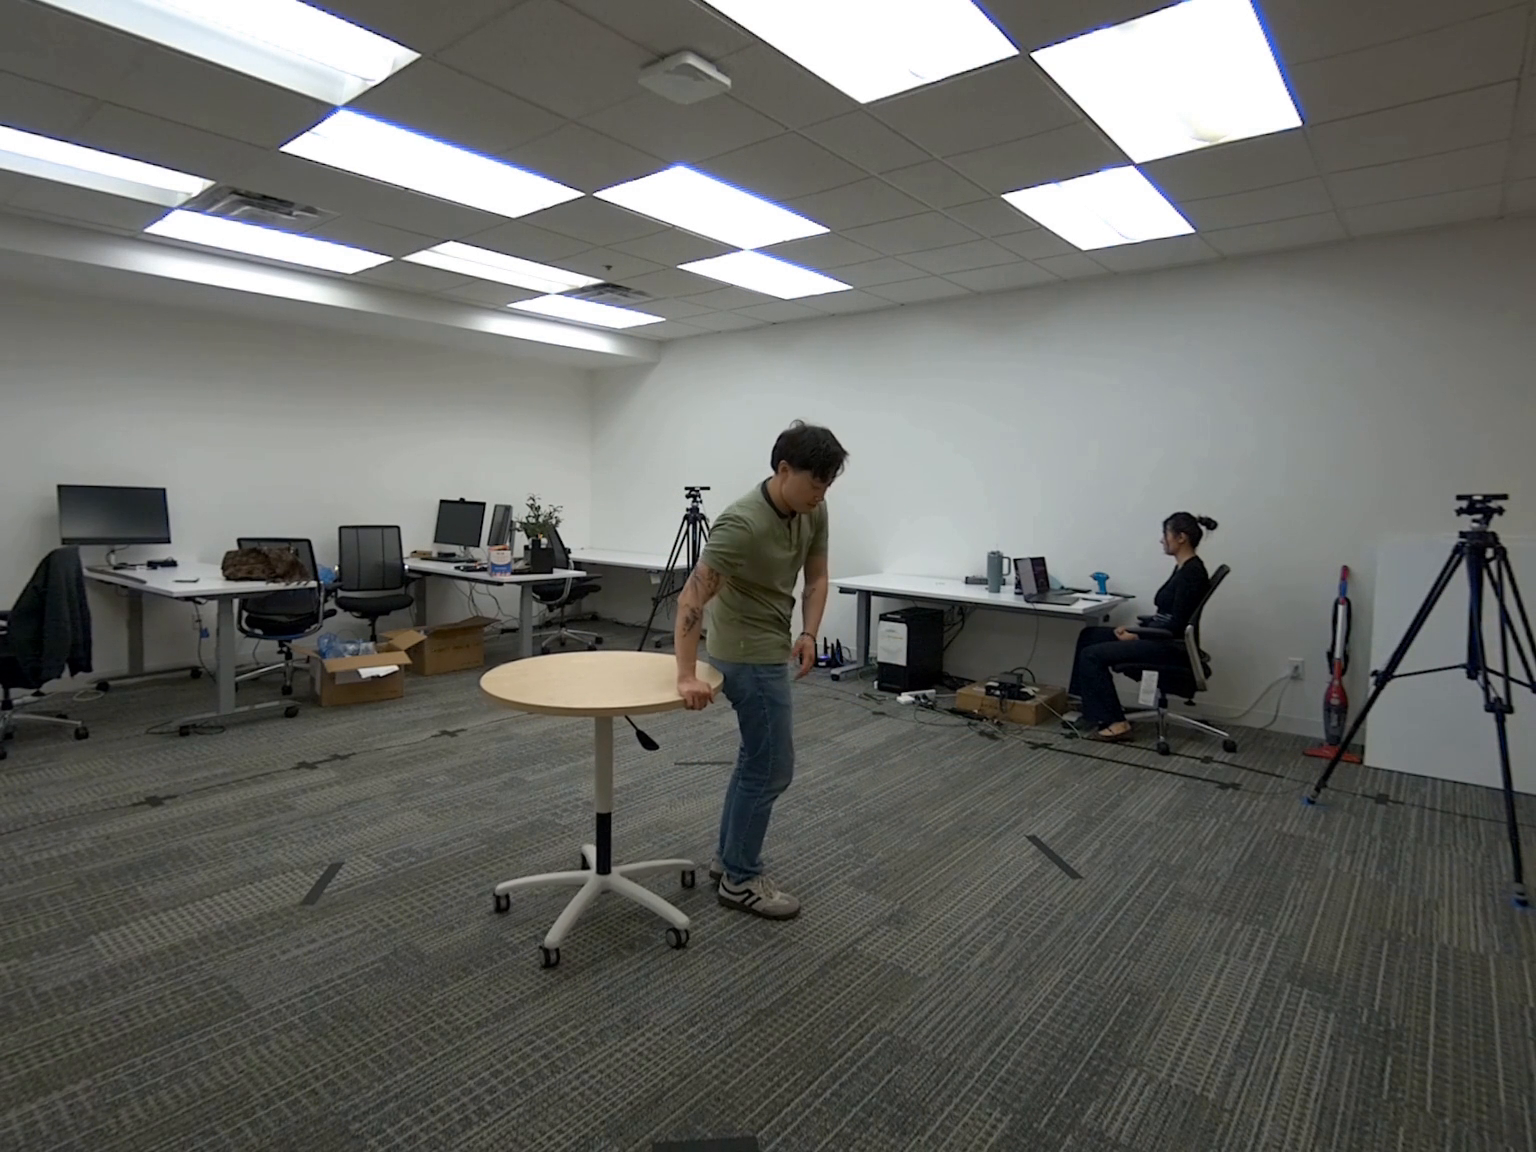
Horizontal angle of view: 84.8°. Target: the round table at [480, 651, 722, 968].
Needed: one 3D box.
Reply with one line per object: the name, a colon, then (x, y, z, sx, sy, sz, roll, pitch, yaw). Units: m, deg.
round table: (-0.539, 0.712, 2.738, 0.763, 0.791, 0.768, 0, 5, -2)
